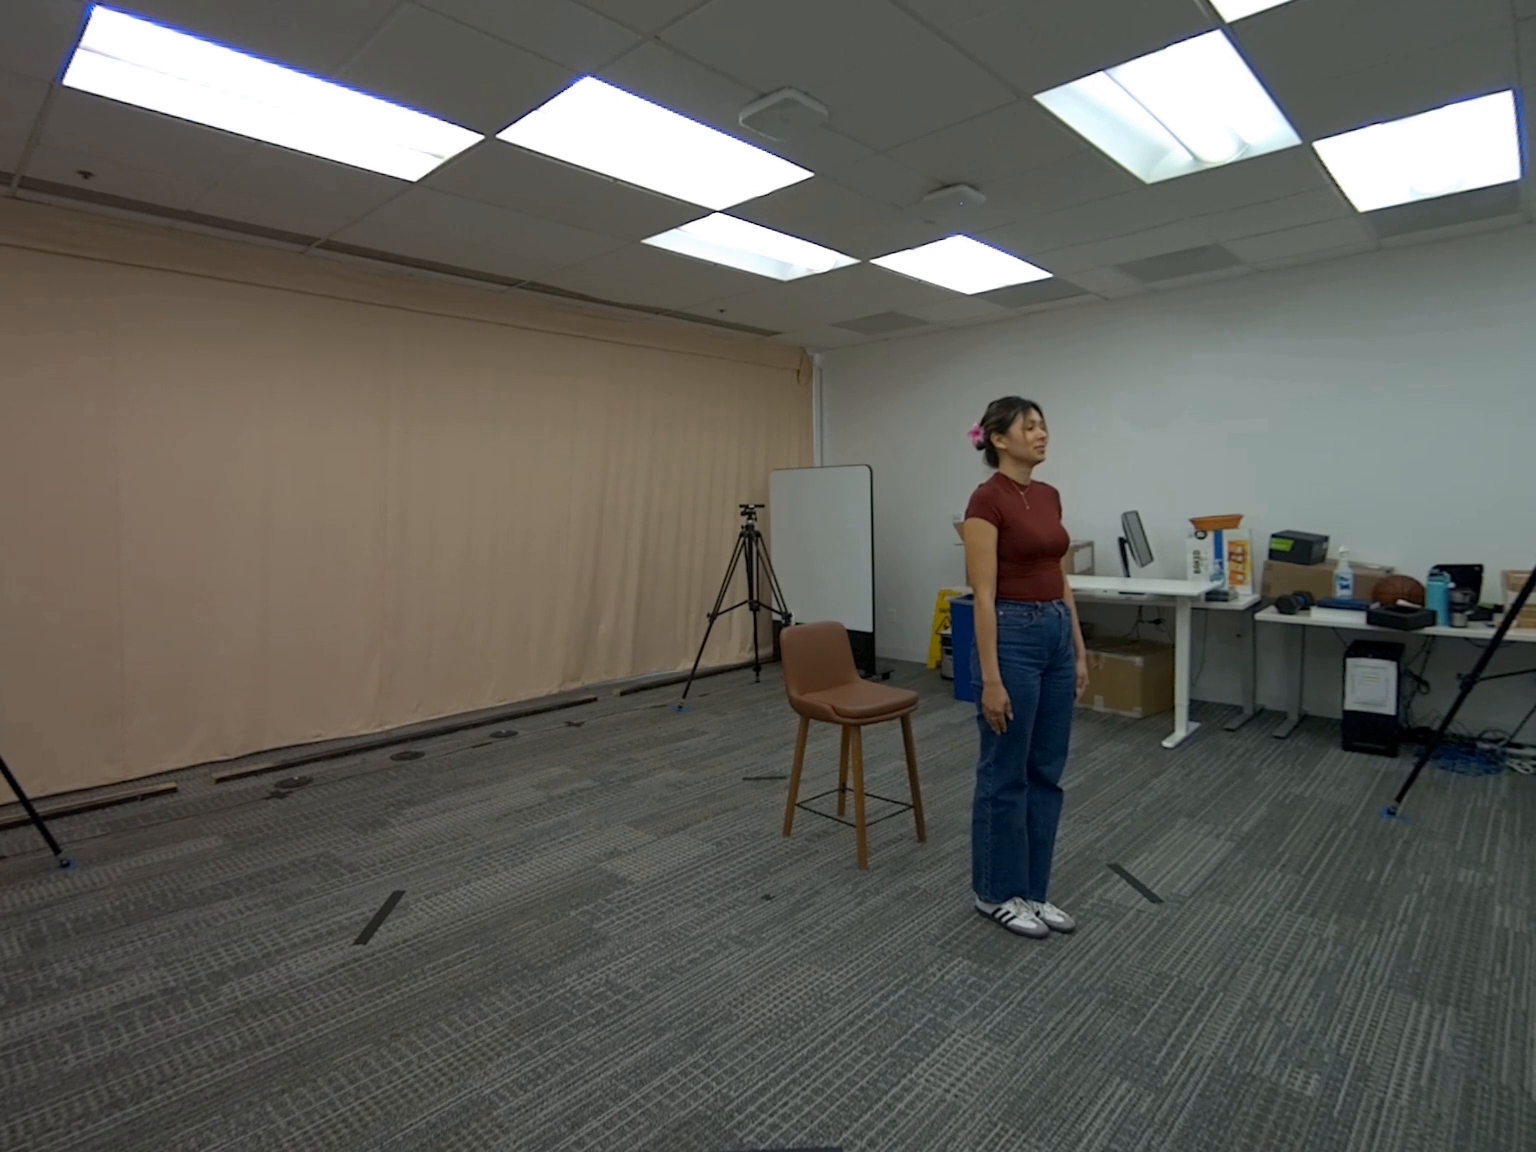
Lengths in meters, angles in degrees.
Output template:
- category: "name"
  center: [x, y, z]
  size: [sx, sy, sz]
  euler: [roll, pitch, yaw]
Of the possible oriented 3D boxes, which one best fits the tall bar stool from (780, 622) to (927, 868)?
- category: "tall bar stool"
  center: [0.345, 0.656, 3.476]
  size: [0.442, 0.889, 0.483]
  euler: [-3, 2, -43]
